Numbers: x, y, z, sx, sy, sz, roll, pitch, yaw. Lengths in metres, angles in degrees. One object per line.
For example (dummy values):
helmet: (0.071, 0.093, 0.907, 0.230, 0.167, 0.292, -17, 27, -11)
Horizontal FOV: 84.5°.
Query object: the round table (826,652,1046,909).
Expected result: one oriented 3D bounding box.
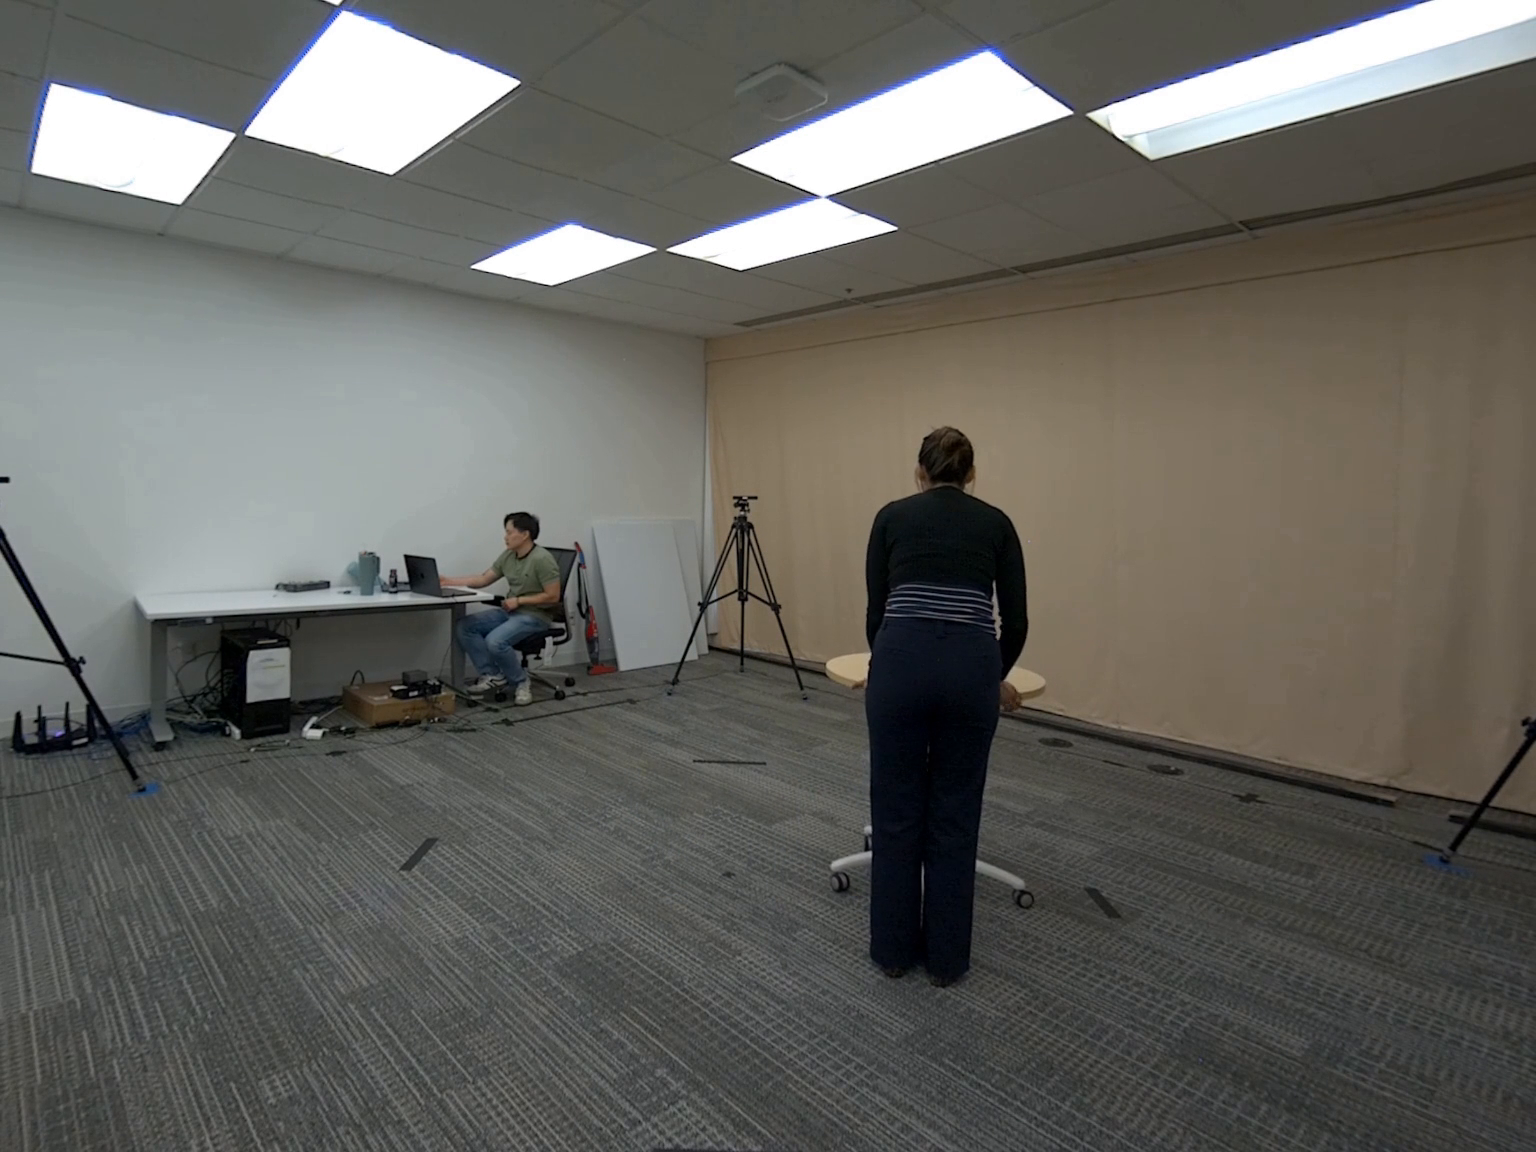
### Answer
round table: (0.573, 0.738, 3.050, 0.763, 0.792, 0.766, 2, 4, -1)
